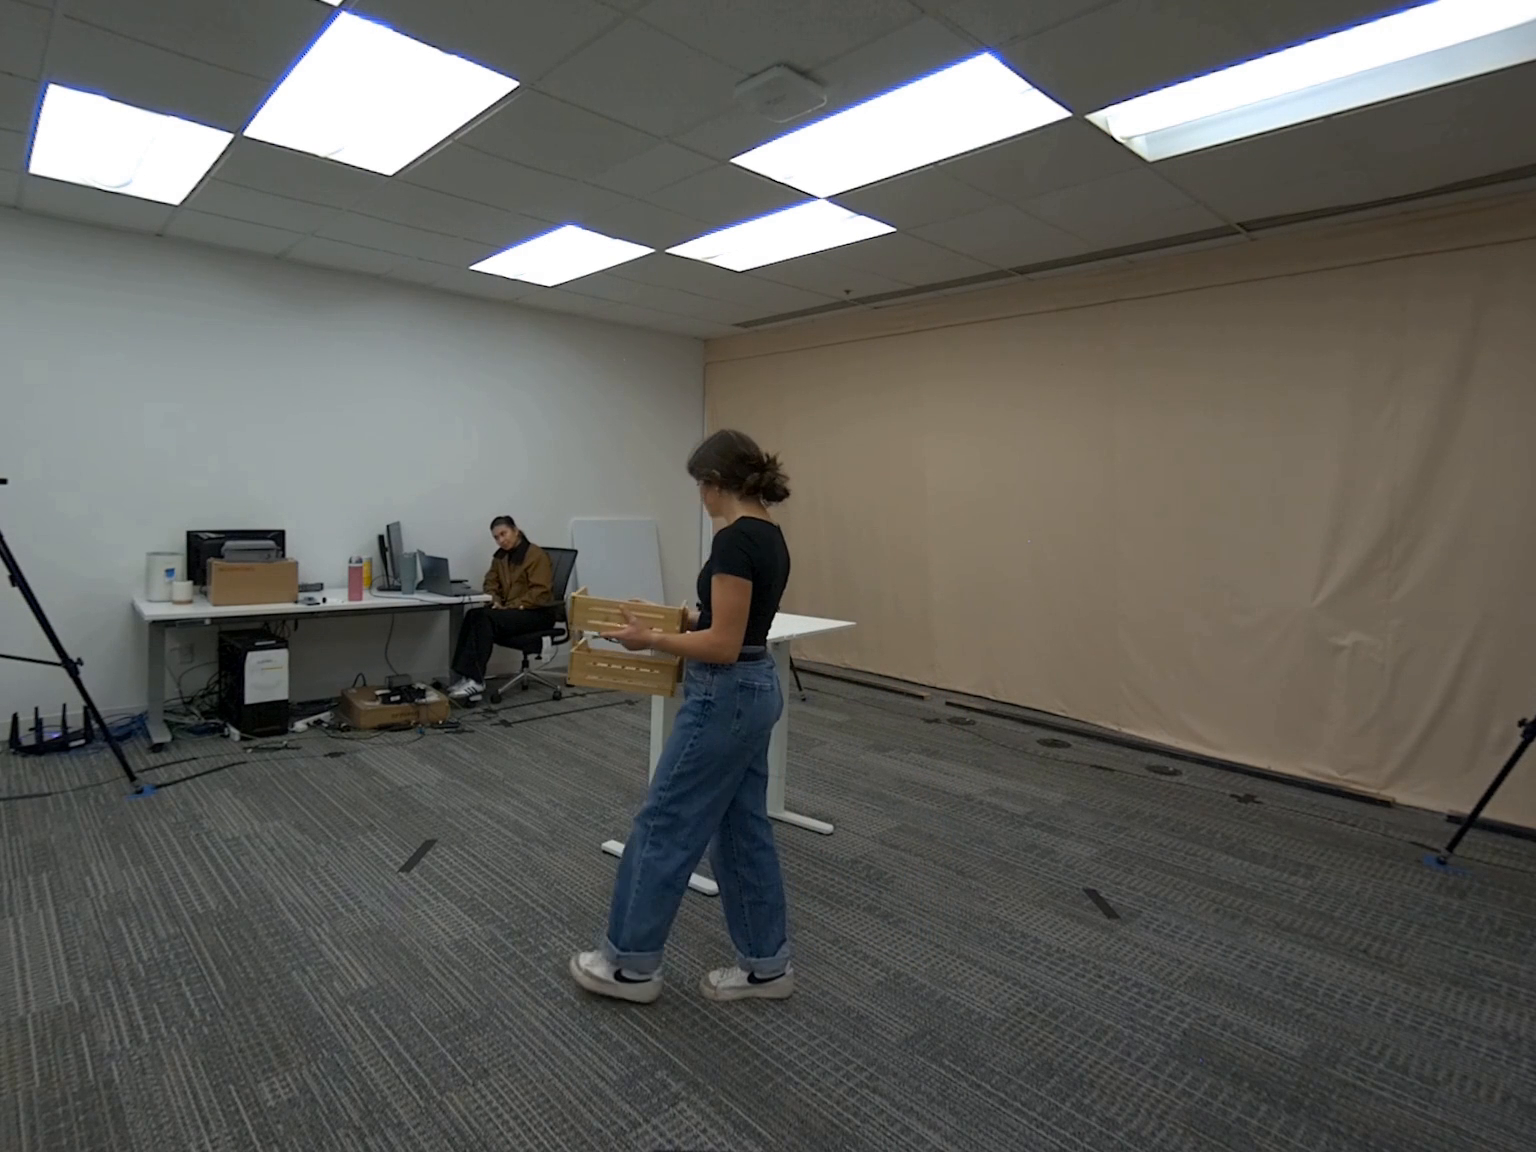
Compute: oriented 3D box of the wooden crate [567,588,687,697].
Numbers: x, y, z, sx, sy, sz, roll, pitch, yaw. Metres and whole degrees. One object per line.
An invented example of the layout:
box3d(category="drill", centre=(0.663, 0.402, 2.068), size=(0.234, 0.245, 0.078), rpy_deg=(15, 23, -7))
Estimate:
box3d(category="wooden crate", centre=(-0.396, 0.175, 2.417), size=(0.325, 0.272, 0.303), rpy_deg=(7, 8, 0))
